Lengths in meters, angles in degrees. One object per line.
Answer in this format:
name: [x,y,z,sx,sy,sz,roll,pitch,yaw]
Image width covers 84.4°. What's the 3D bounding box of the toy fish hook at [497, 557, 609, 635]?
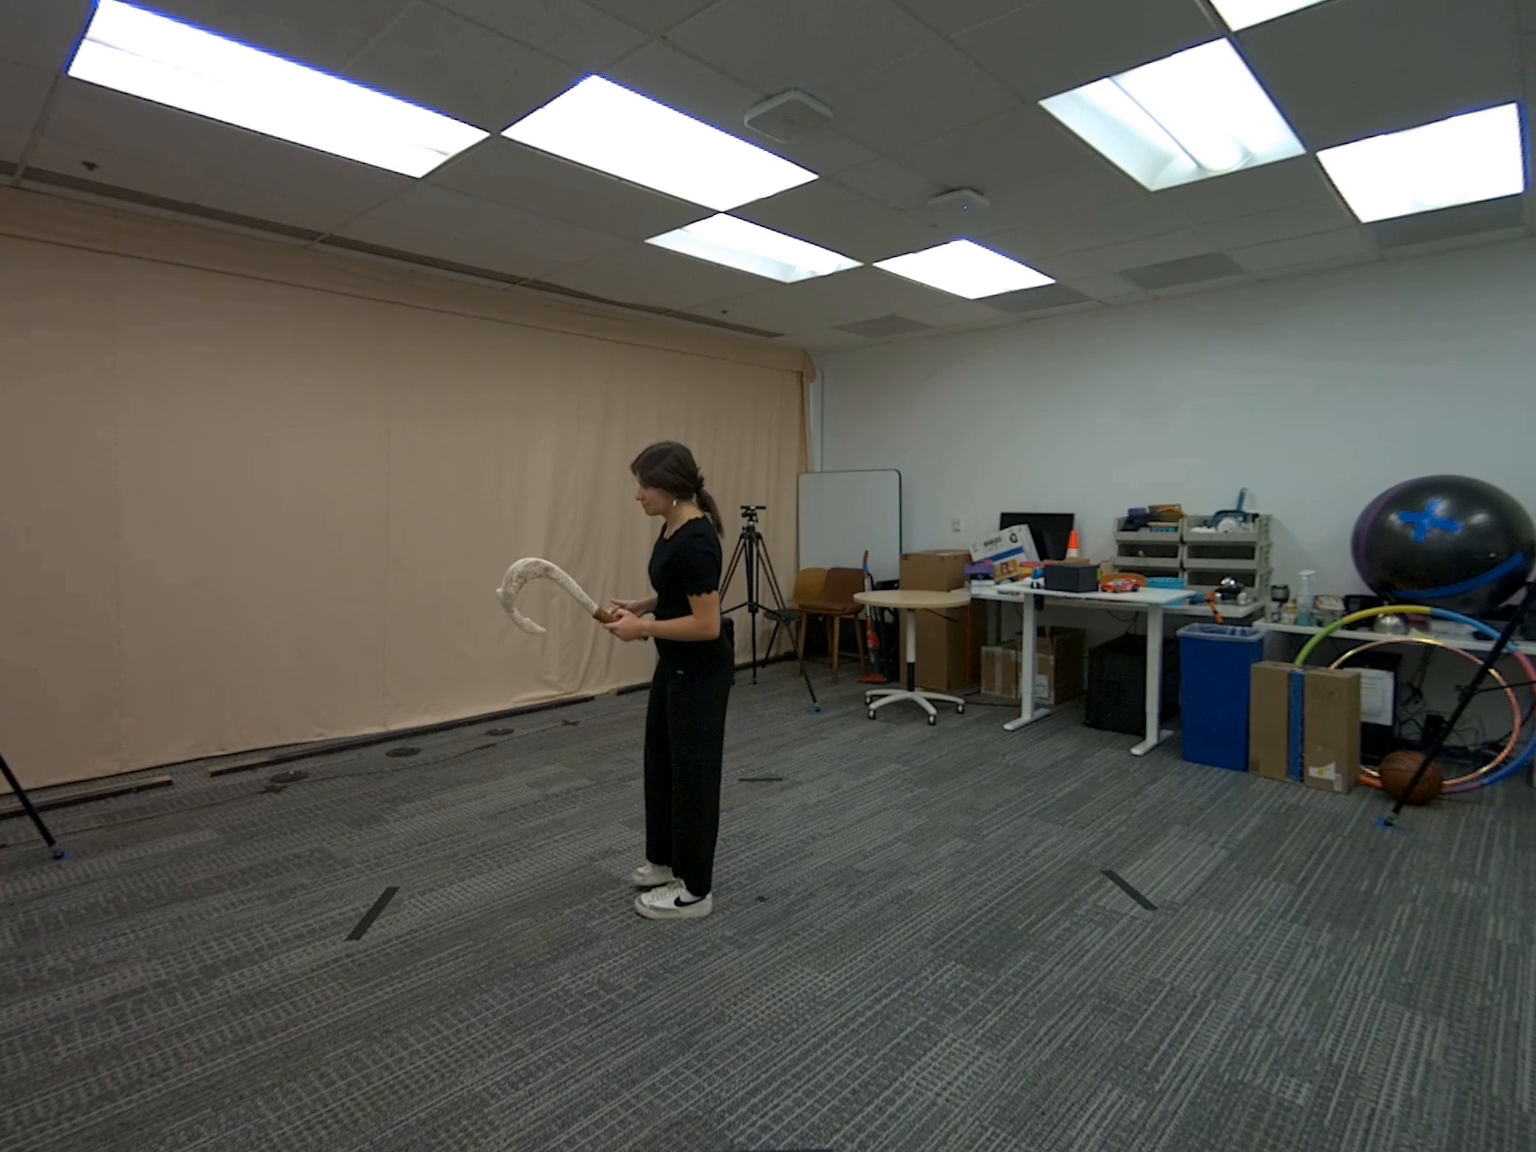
toy fish hook: [-0.613,0.124,2.673,0.495,0.225,0.049,31,-9,-20]
